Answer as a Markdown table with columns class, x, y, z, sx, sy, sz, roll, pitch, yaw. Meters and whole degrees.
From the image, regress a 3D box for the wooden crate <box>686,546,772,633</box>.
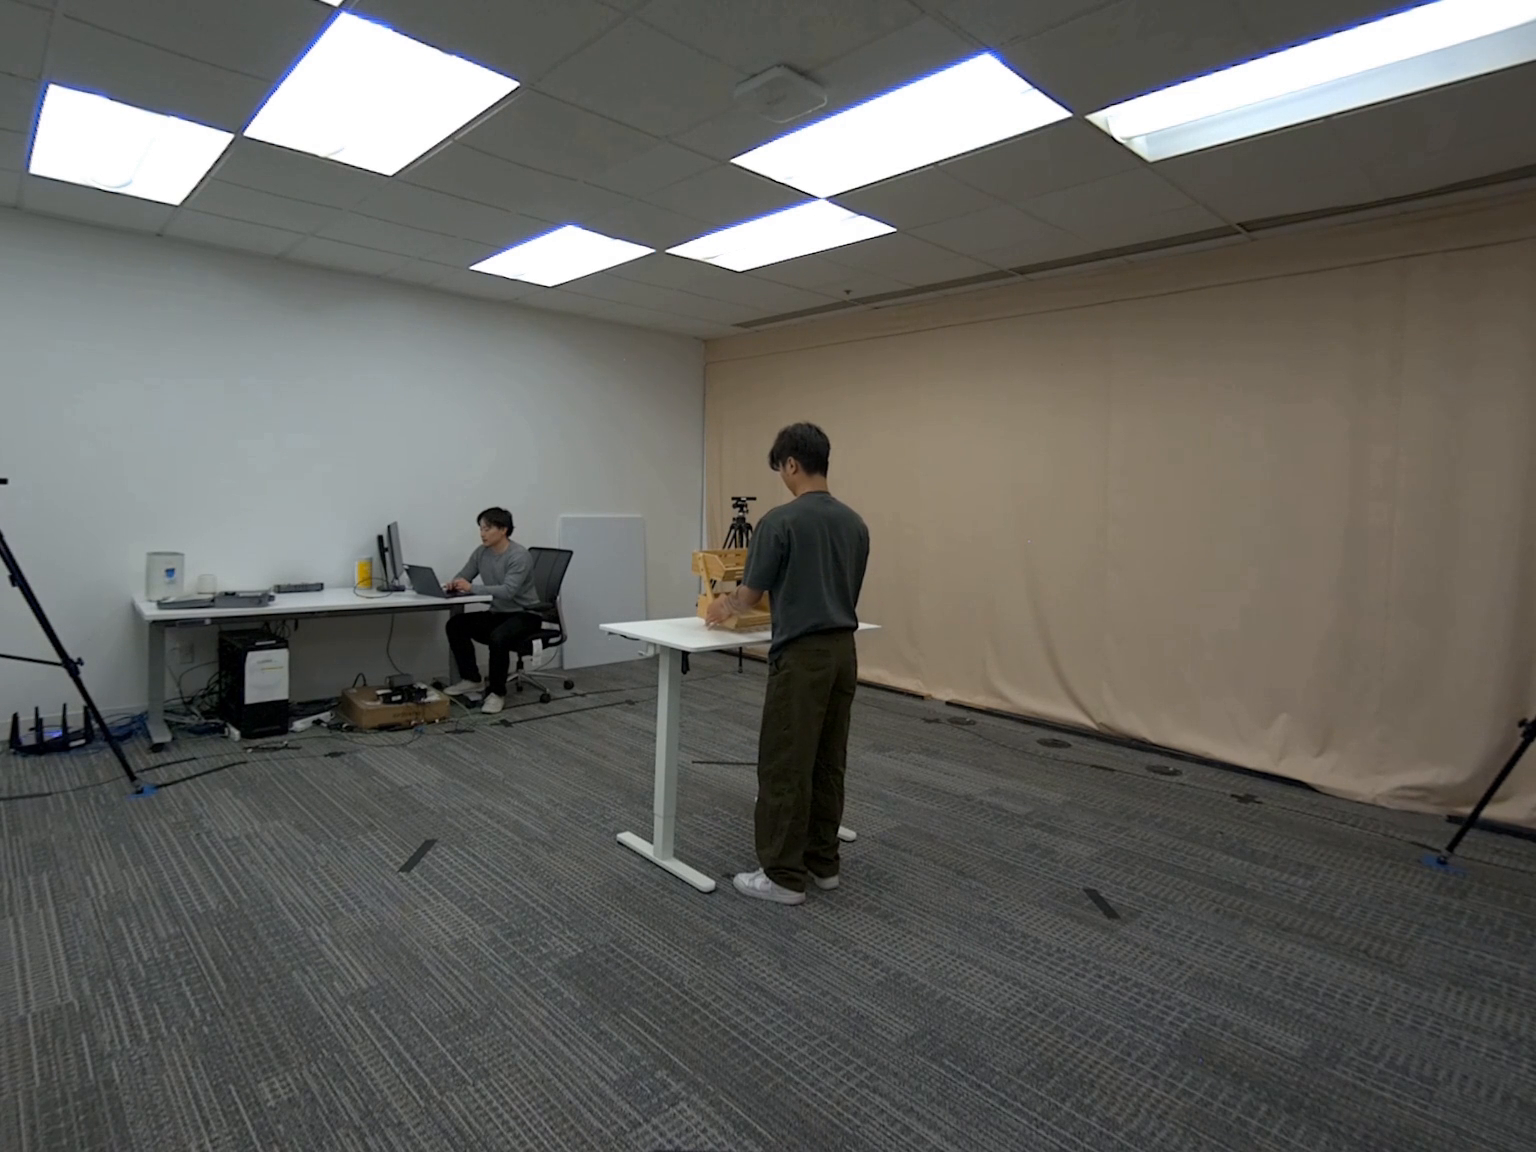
| class | x | y | z | sx | sy | sz | roll | pitch | yaw |
| --- | --- | --- | --- | --- | --- | --- | --- | --- | --- |
| wooden crate | -0.098 | 0.042 | 3.358 | 0.317 | 0.272 | 0.310 | -3 | 11 | -41 |
